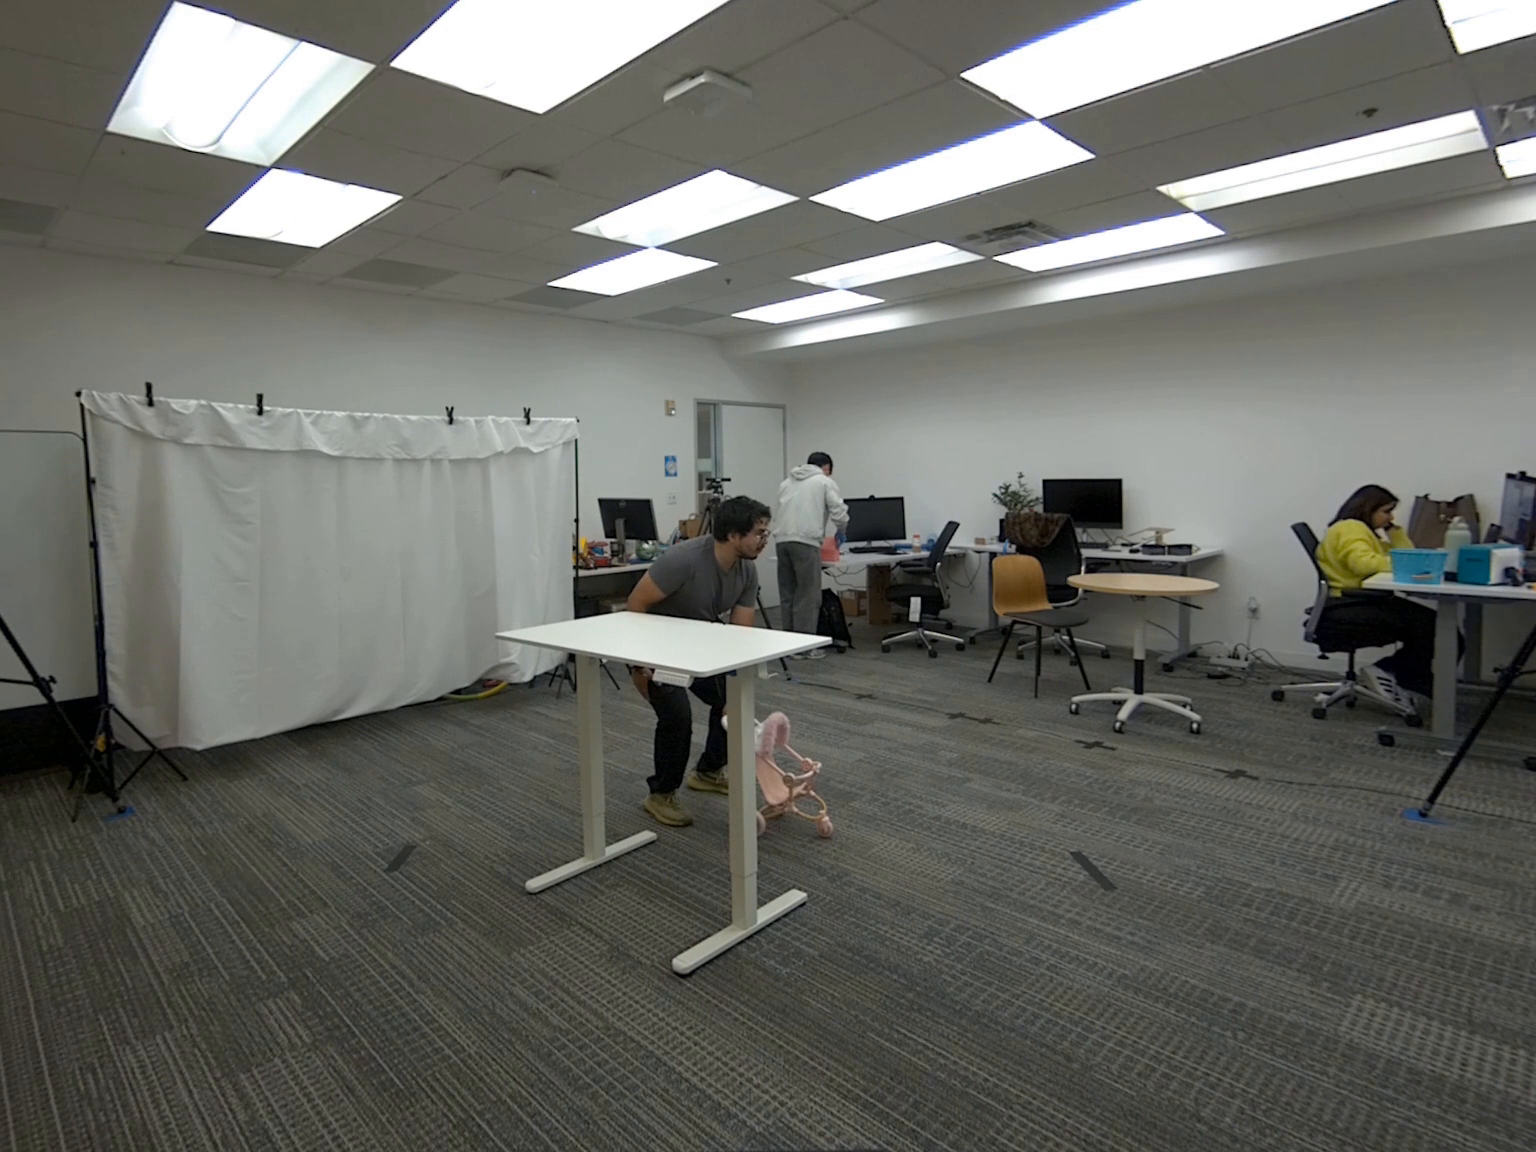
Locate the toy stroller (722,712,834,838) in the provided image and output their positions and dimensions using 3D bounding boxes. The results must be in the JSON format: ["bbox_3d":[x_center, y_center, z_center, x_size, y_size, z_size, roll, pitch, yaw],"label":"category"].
[{"bbox_3d":[0.050,0.782,3.392,0.348,0.537,0.275,-15,-4,31],"label":"toy stroller"}]
